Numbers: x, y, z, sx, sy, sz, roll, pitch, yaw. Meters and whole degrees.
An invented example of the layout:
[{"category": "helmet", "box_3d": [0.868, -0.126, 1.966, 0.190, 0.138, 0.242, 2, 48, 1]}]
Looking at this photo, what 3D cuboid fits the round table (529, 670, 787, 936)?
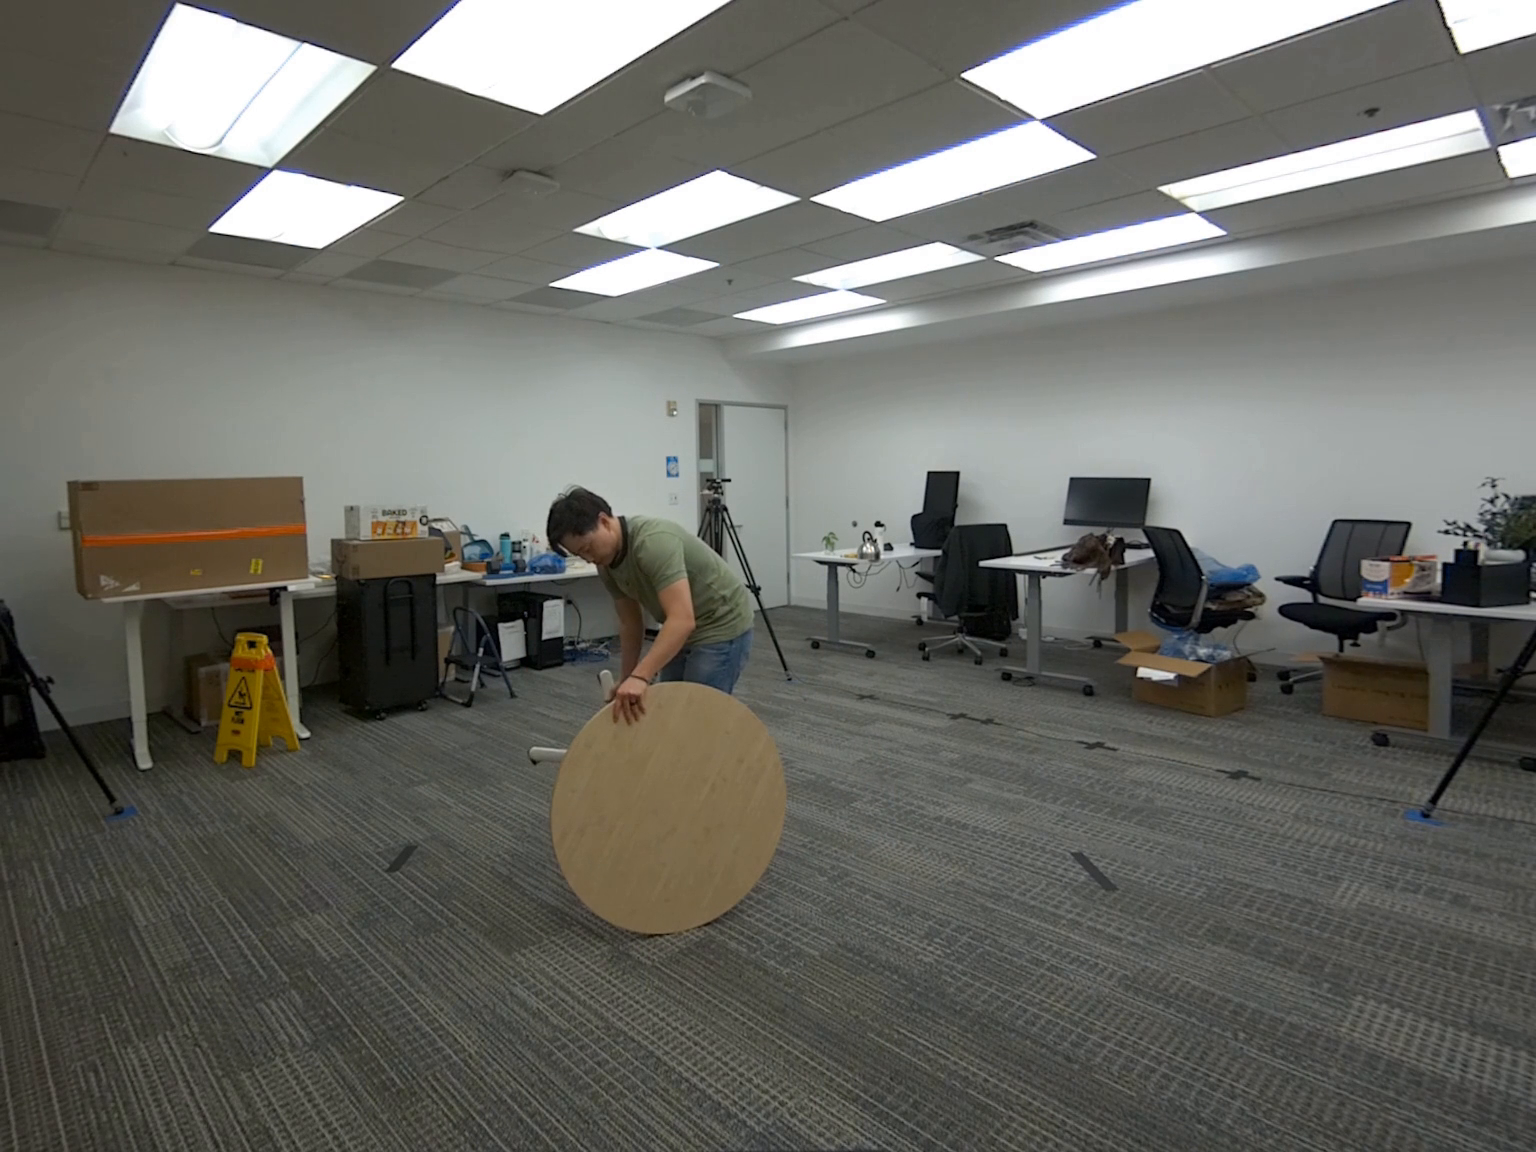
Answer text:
[{"category": "round table", "box_3d": [-0.453, 0.722, 3.033, 0.749, 0.766, 0.807, -3, -2, -22]}]
